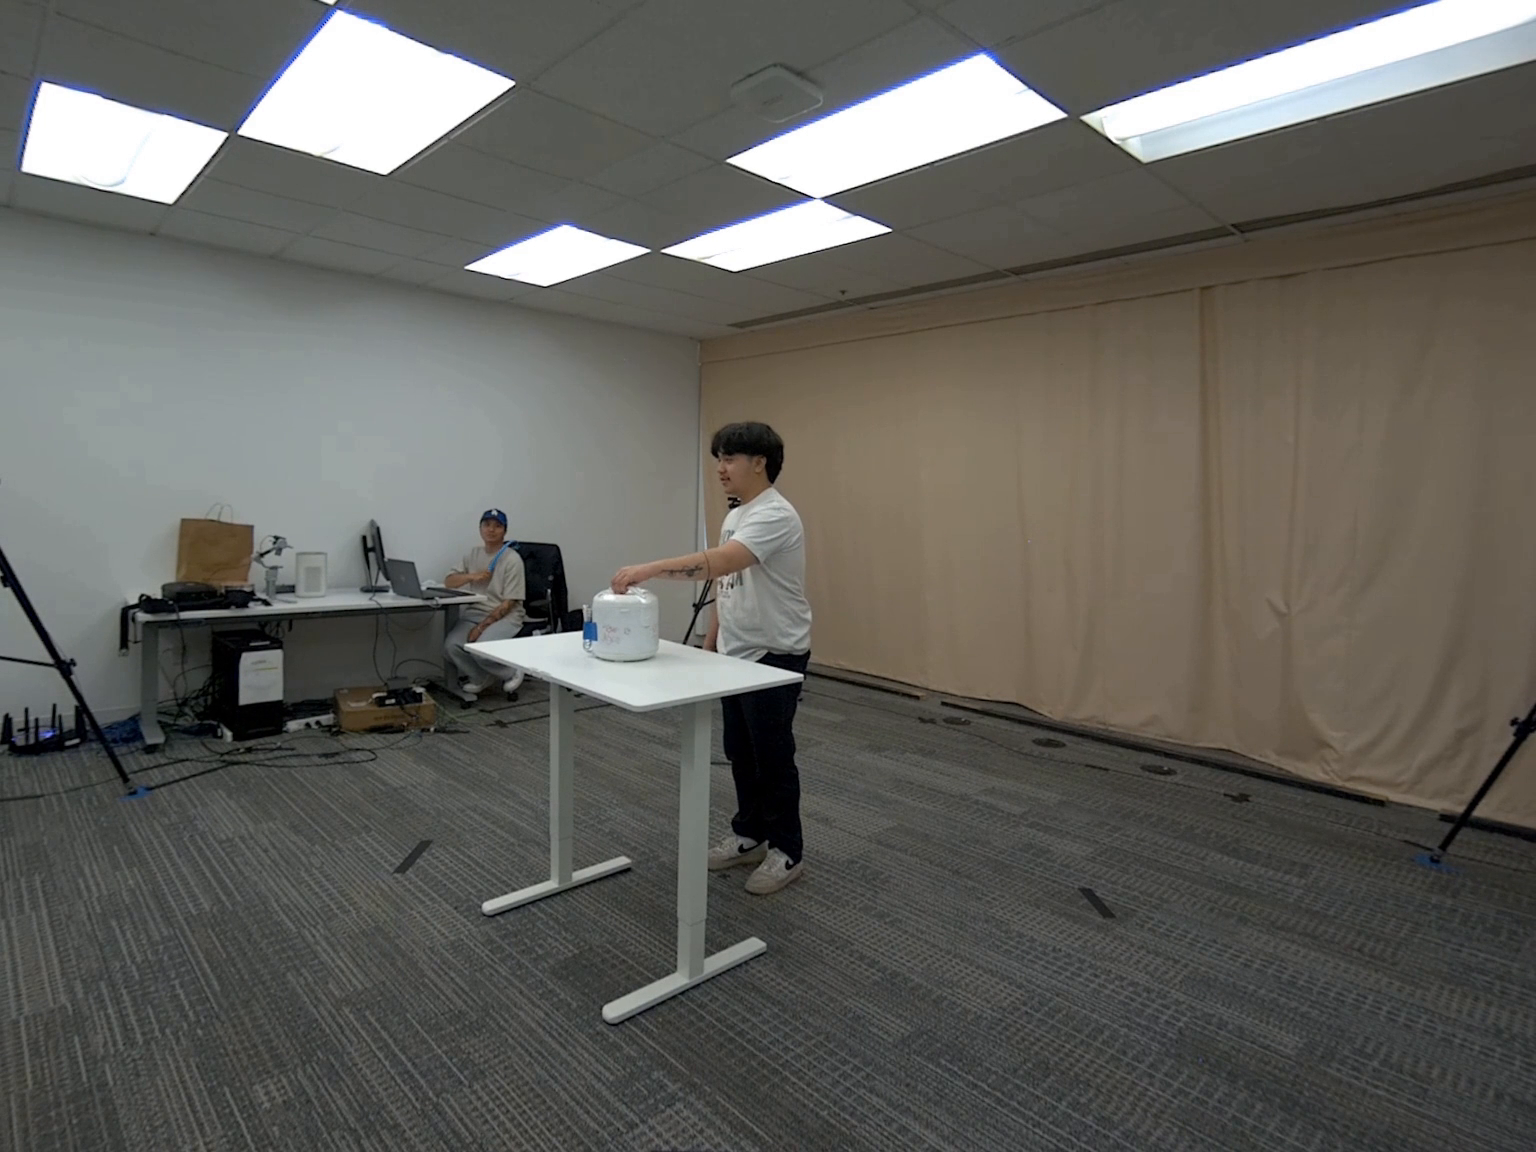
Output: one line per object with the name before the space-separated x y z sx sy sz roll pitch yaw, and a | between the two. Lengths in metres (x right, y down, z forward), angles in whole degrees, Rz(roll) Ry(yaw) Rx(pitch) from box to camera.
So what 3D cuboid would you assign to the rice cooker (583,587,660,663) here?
rice cooker | -0.459 0.144 2.658 0.212 0.232 0.226 -5 8 -45
